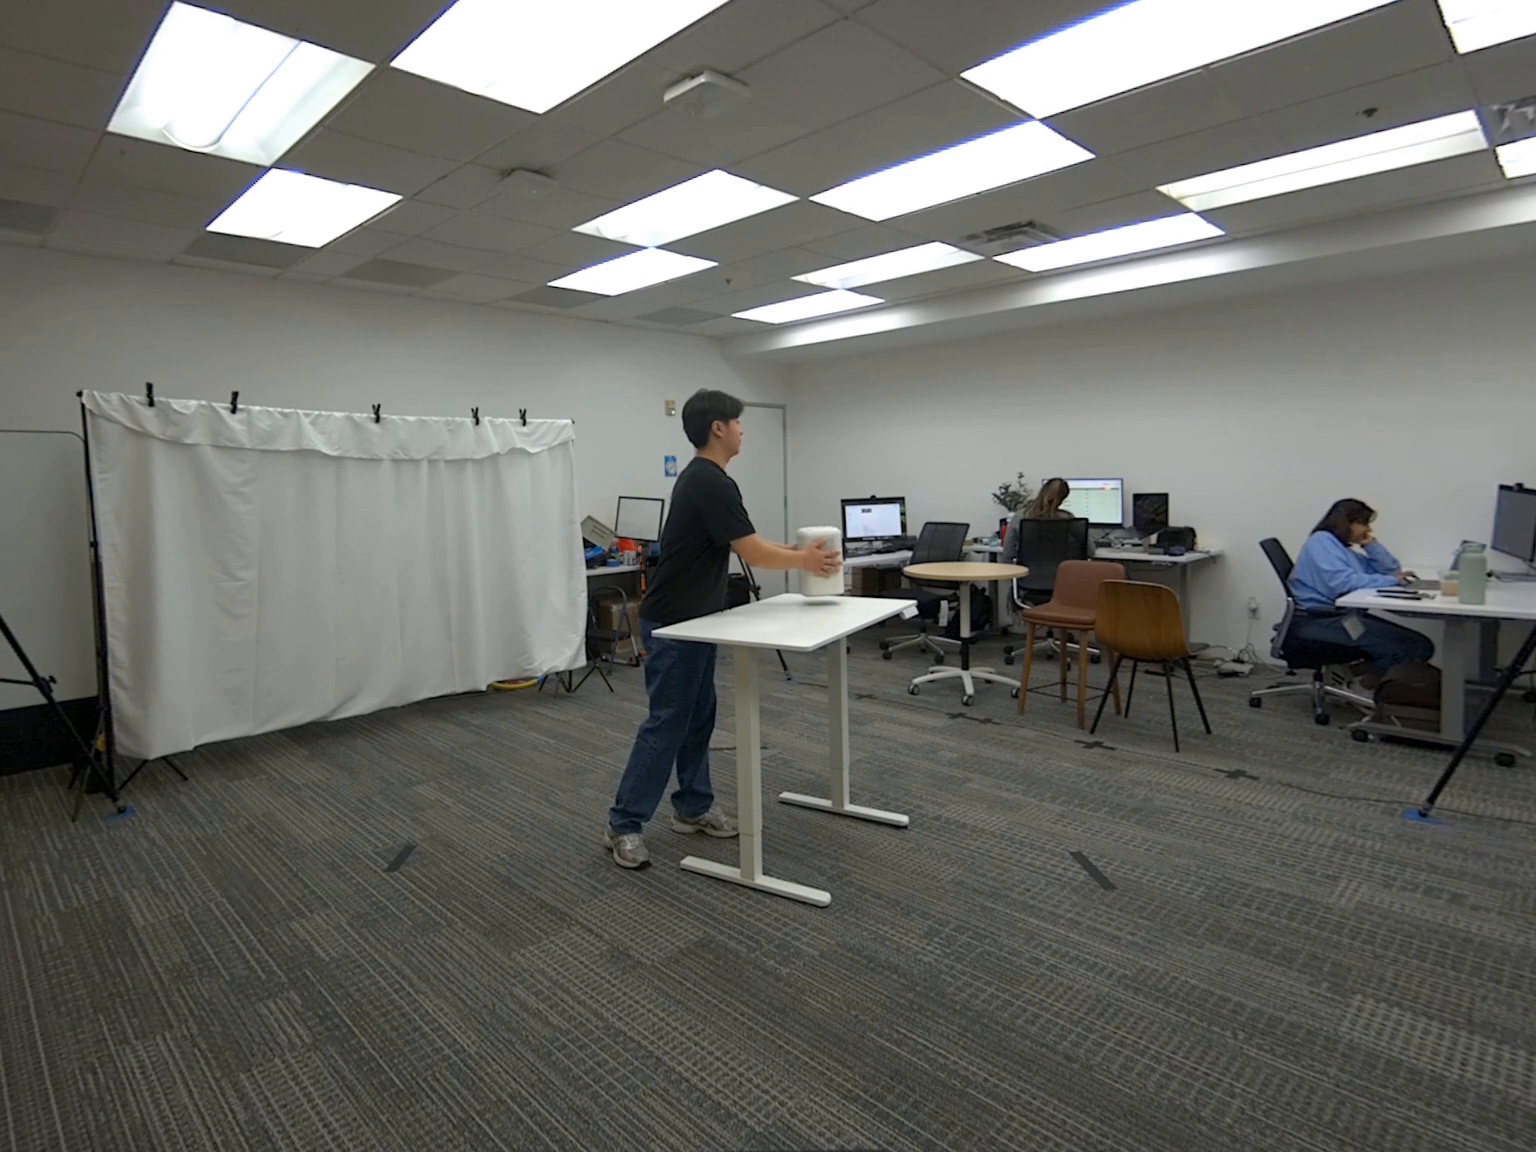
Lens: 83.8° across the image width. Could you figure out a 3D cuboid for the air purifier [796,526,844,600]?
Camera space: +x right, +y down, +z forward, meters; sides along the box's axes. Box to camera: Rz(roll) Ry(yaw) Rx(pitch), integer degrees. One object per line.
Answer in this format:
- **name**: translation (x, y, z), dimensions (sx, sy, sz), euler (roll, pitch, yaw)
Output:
- **air purifier**: translation (0.206, -0.060, 3.439), dimensions (0.171, 0.264, 0.173), euler (-4, 5, -5)
